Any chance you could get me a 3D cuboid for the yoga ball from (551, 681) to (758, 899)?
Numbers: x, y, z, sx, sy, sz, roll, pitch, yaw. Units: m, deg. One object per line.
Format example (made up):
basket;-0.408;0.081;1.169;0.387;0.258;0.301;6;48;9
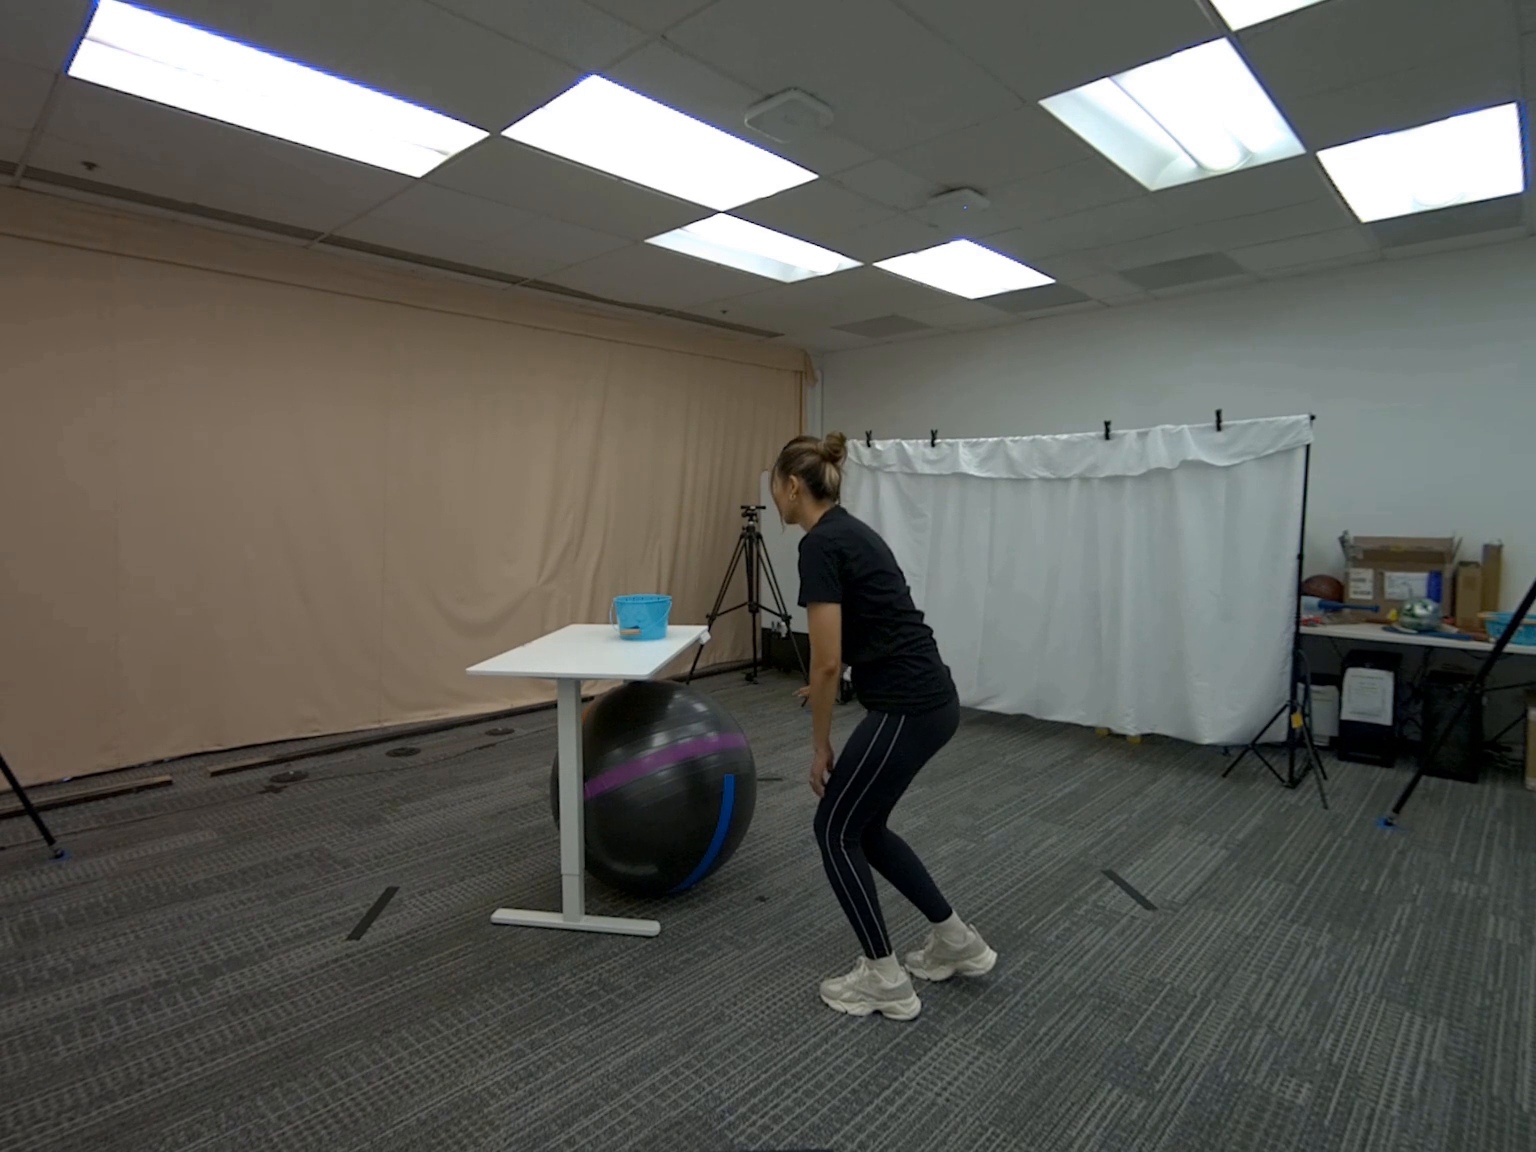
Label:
yoga ball;-0.430;0.785;3.106;0.757;0.756;0.761;0;4;-2
